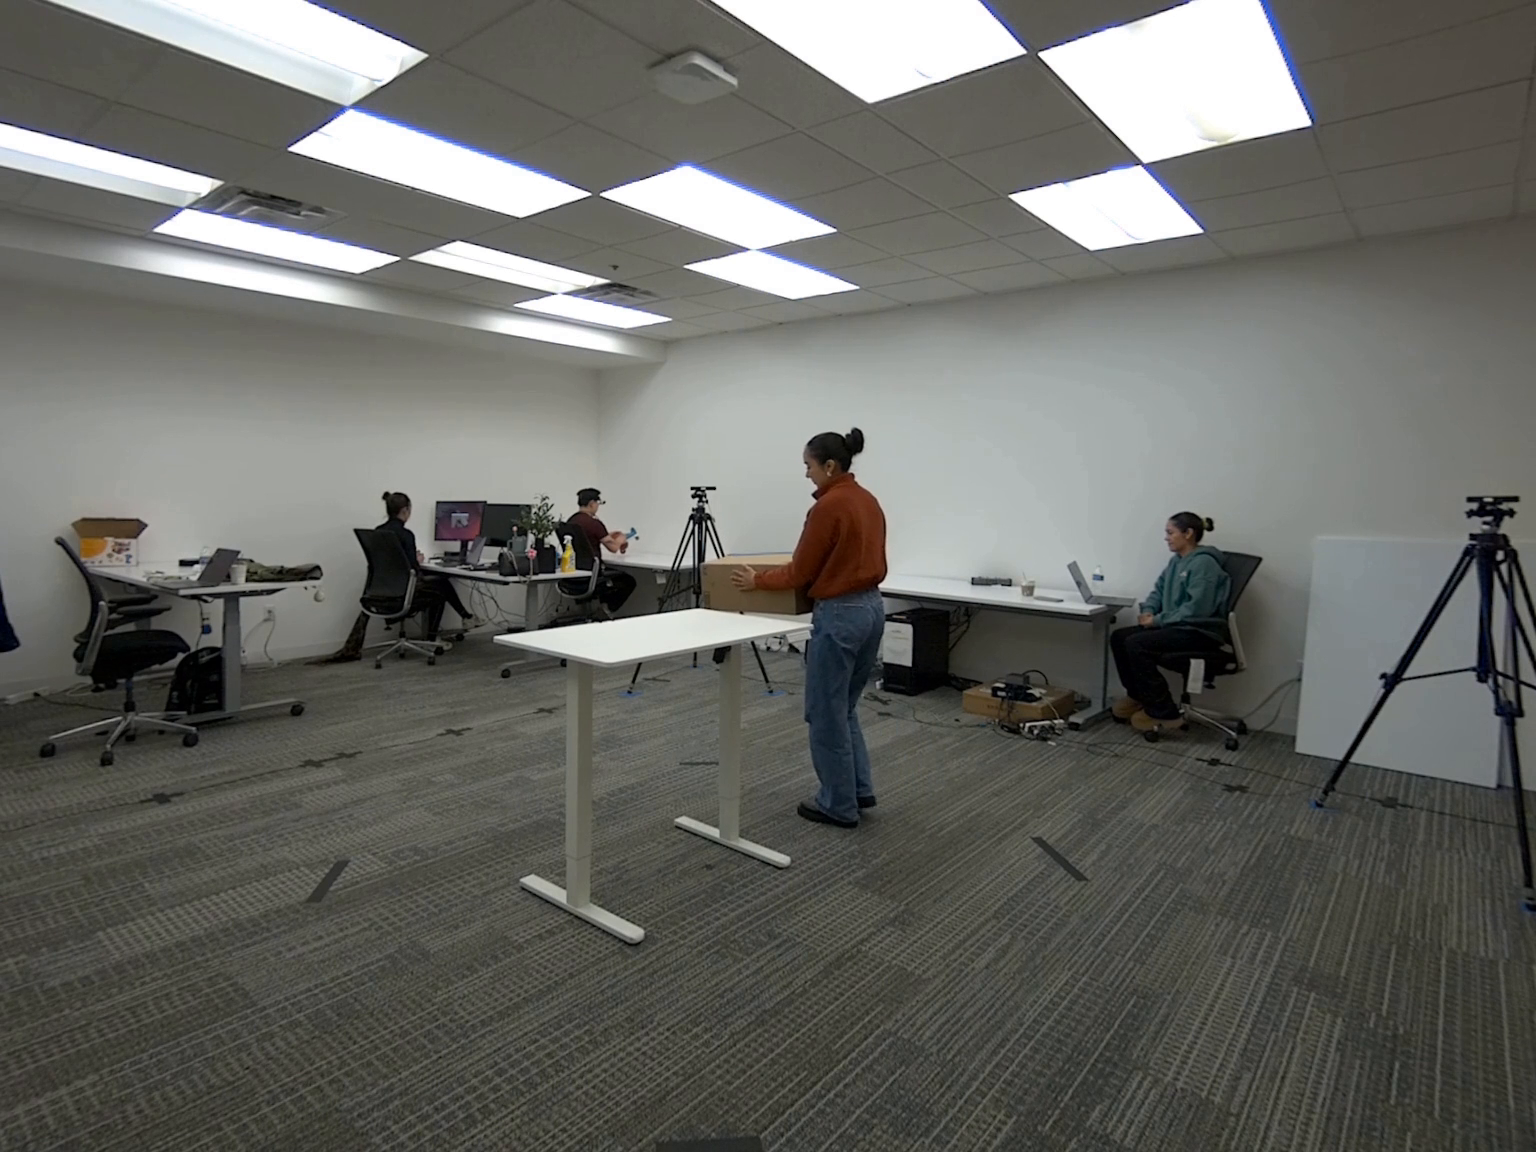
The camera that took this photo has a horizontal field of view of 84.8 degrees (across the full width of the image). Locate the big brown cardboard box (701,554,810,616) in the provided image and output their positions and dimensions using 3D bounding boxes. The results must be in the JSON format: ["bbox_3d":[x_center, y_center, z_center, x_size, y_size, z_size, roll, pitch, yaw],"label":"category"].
[{"bbox_3d":[0.023,0.025,3.850,0.607,0.232,0.406,0,6,44],"label":"big brown cardboard box"}]
